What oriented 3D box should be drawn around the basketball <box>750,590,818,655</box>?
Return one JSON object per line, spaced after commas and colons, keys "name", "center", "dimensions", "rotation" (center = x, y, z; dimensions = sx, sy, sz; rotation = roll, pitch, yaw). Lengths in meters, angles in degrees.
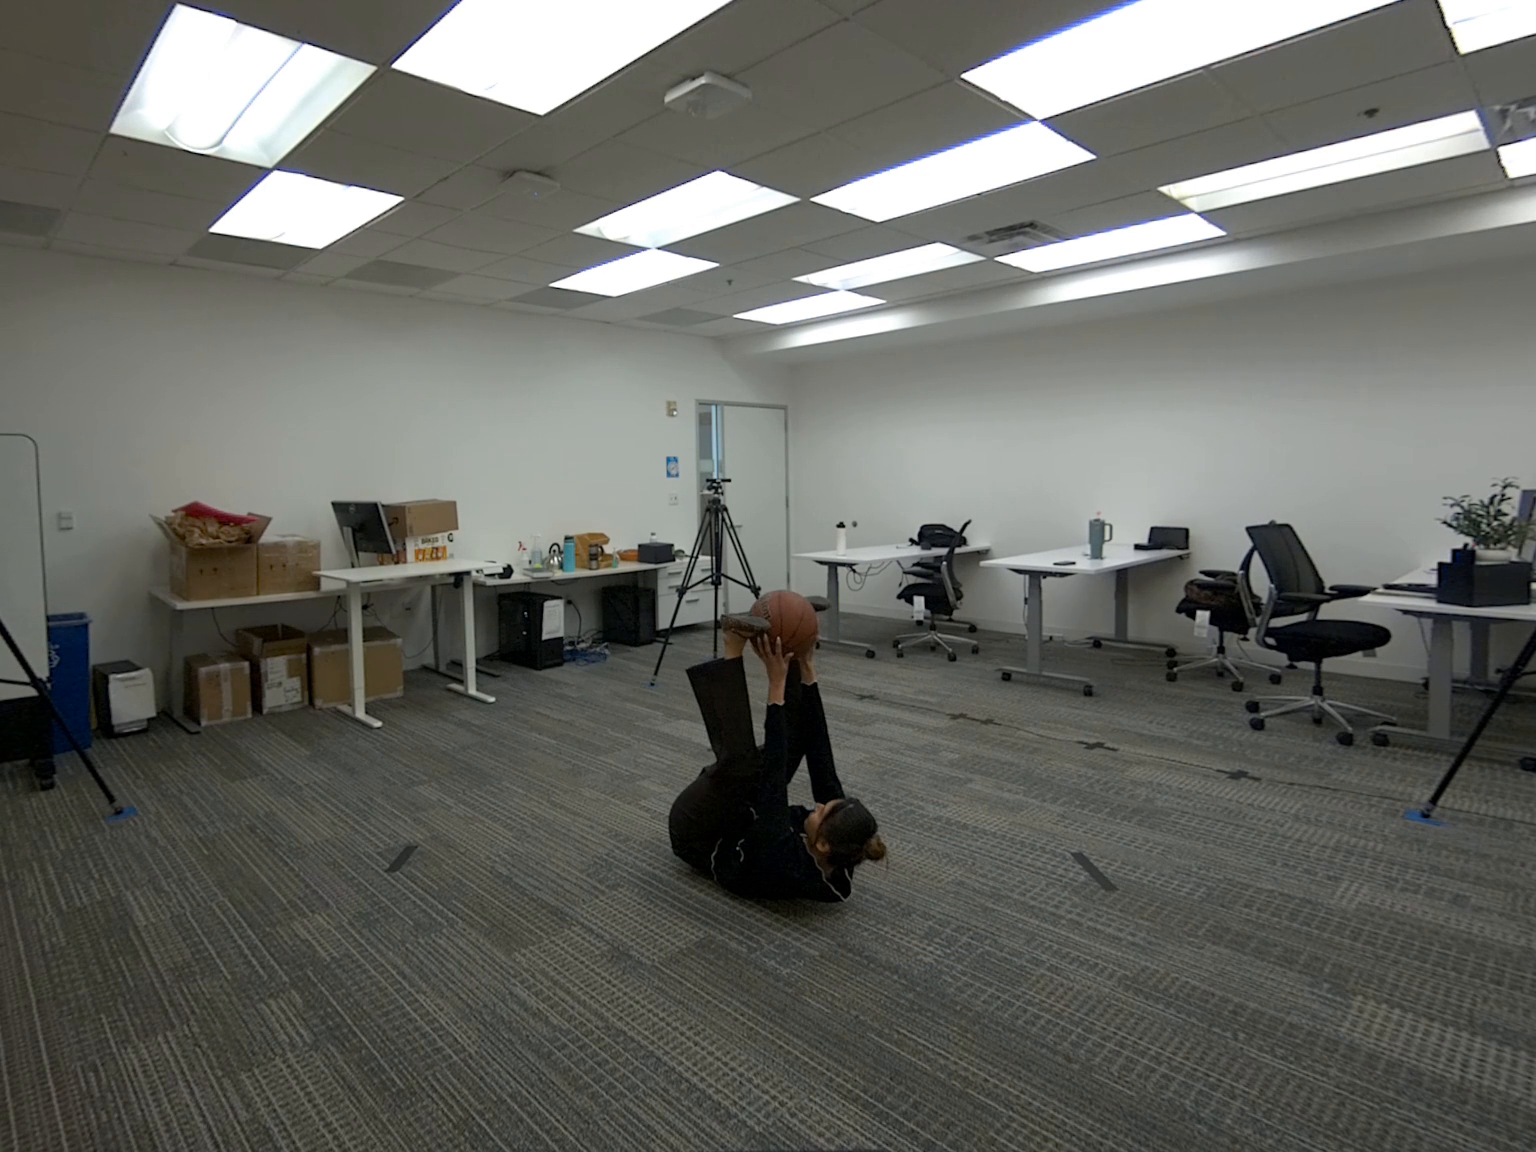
{"name": "basketball", "center": [0.049, 0.164, 2.822], "dimensions": [0.236, 0.235, 0.237], "rotation": [-1, 5, -2]}
